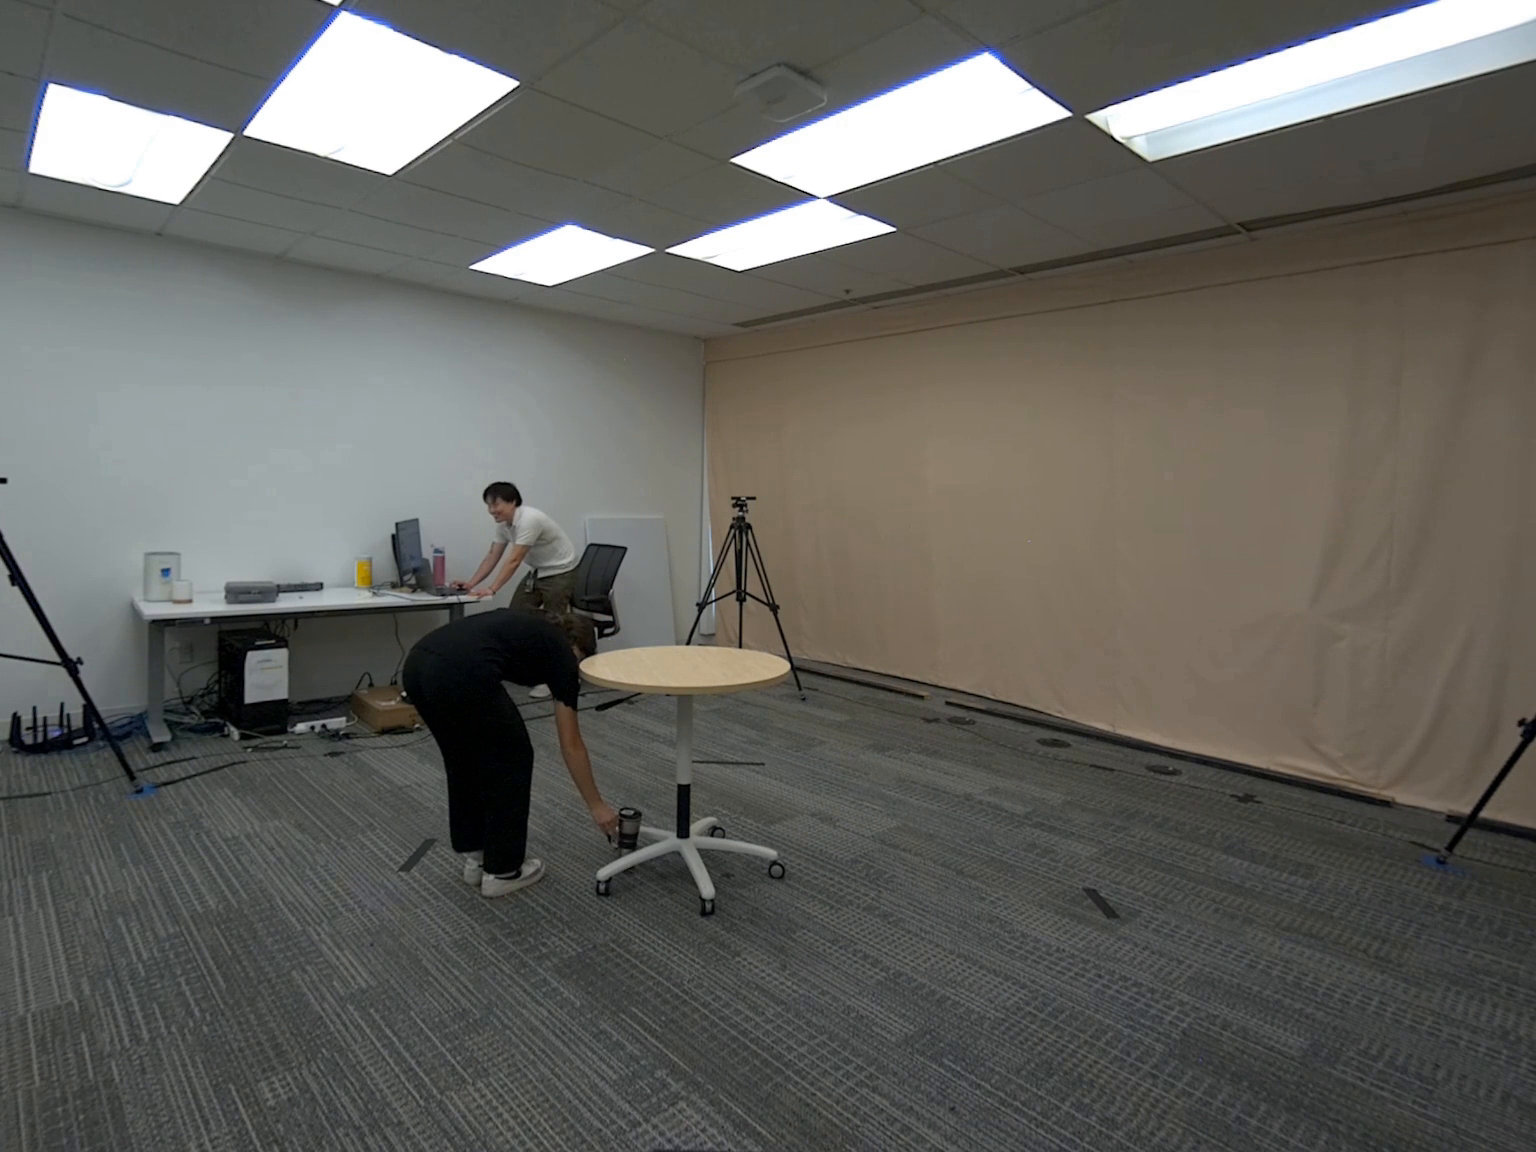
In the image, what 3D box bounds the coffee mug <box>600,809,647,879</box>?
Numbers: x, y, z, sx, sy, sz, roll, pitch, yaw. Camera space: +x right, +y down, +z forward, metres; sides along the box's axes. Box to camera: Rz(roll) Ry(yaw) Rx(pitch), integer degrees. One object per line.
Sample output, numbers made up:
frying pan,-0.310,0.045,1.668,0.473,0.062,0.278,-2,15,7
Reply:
coffee mug,-0.531,0.979,3.102,0.123,0.203,0.087,9,2,6
